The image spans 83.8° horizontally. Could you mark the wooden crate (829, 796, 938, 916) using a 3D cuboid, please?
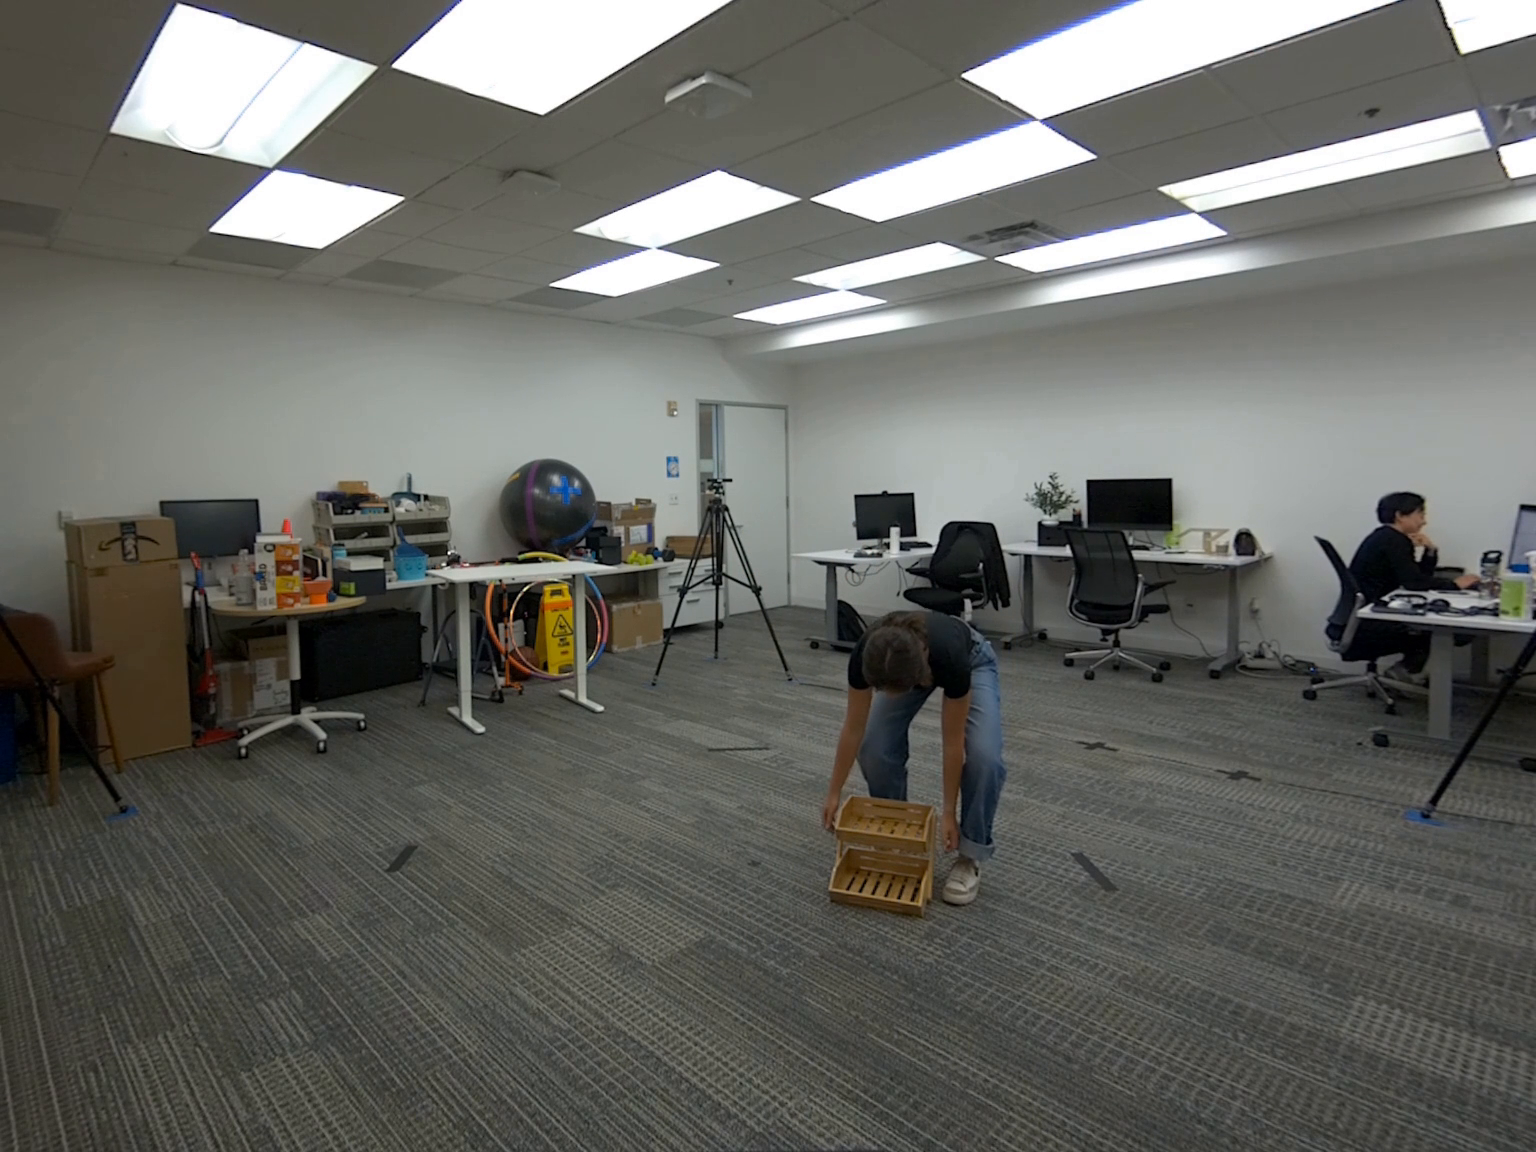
[{"bbox_3d":[0.394,0.932,2.872,0.331,0.272,0.297,1,4,20],"label":"wooden crate"}]
